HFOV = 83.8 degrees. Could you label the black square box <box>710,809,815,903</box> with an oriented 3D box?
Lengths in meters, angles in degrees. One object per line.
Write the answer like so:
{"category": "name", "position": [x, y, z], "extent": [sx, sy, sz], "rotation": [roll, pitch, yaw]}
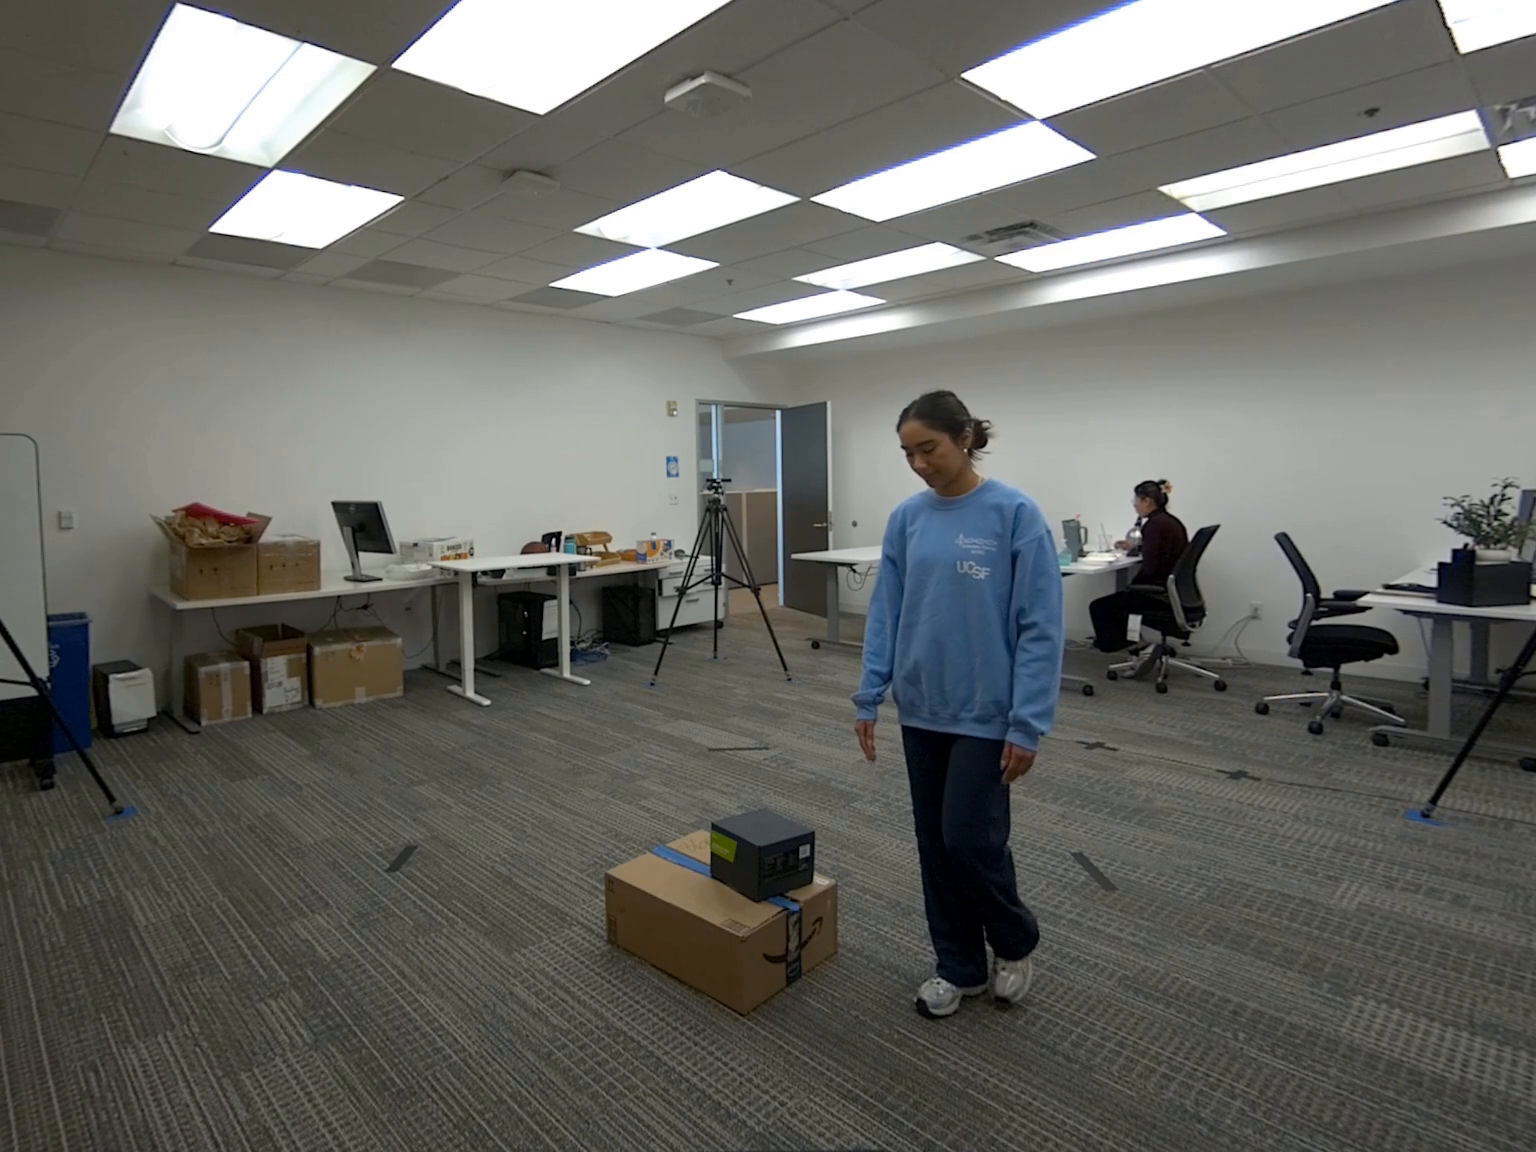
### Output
{"category": "black square box", "position": [-0.015, 0.810, 2.516], "extent": [0.211, 0.155, 0.235], "rotation": [-2, 5, -40]}
